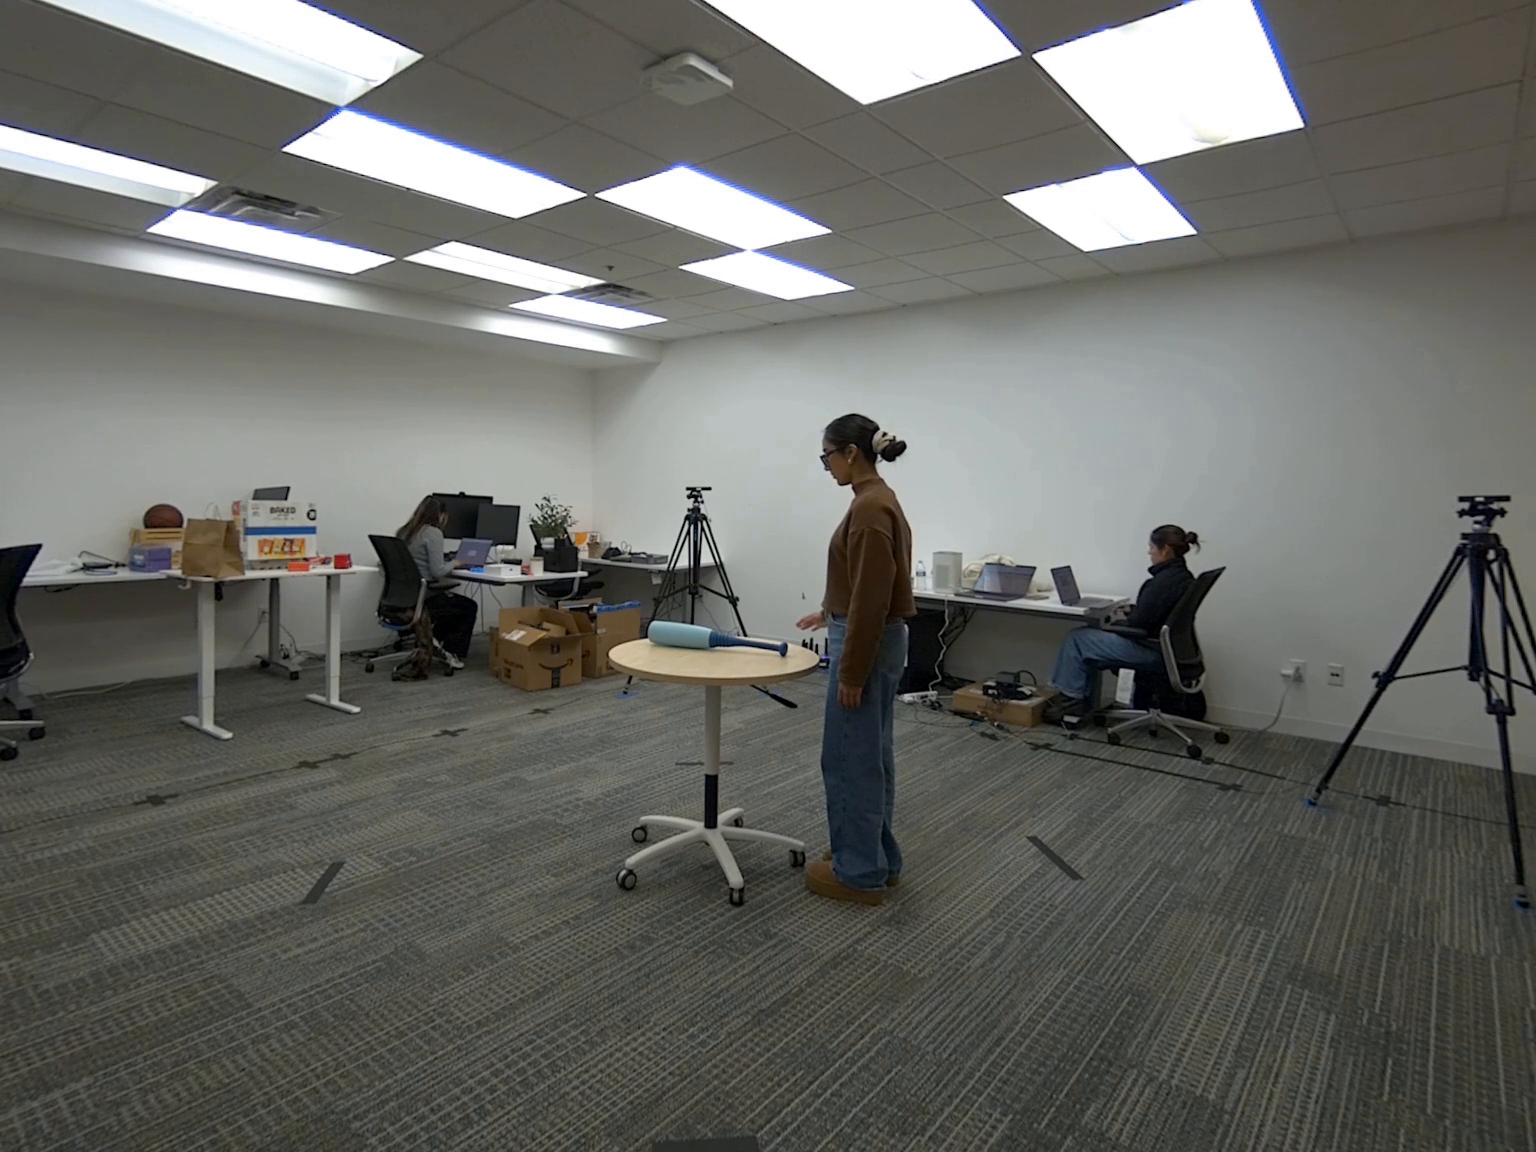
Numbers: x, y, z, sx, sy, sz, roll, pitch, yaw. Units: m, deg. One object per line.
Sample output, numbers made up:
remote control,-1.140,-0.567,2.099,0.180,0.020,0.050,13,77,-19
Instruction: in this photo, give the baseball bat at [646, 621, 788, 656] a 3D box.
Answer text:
baseball bat,-0.206,0.243,3.181,0.554,0.089,0.088,6,5,17
